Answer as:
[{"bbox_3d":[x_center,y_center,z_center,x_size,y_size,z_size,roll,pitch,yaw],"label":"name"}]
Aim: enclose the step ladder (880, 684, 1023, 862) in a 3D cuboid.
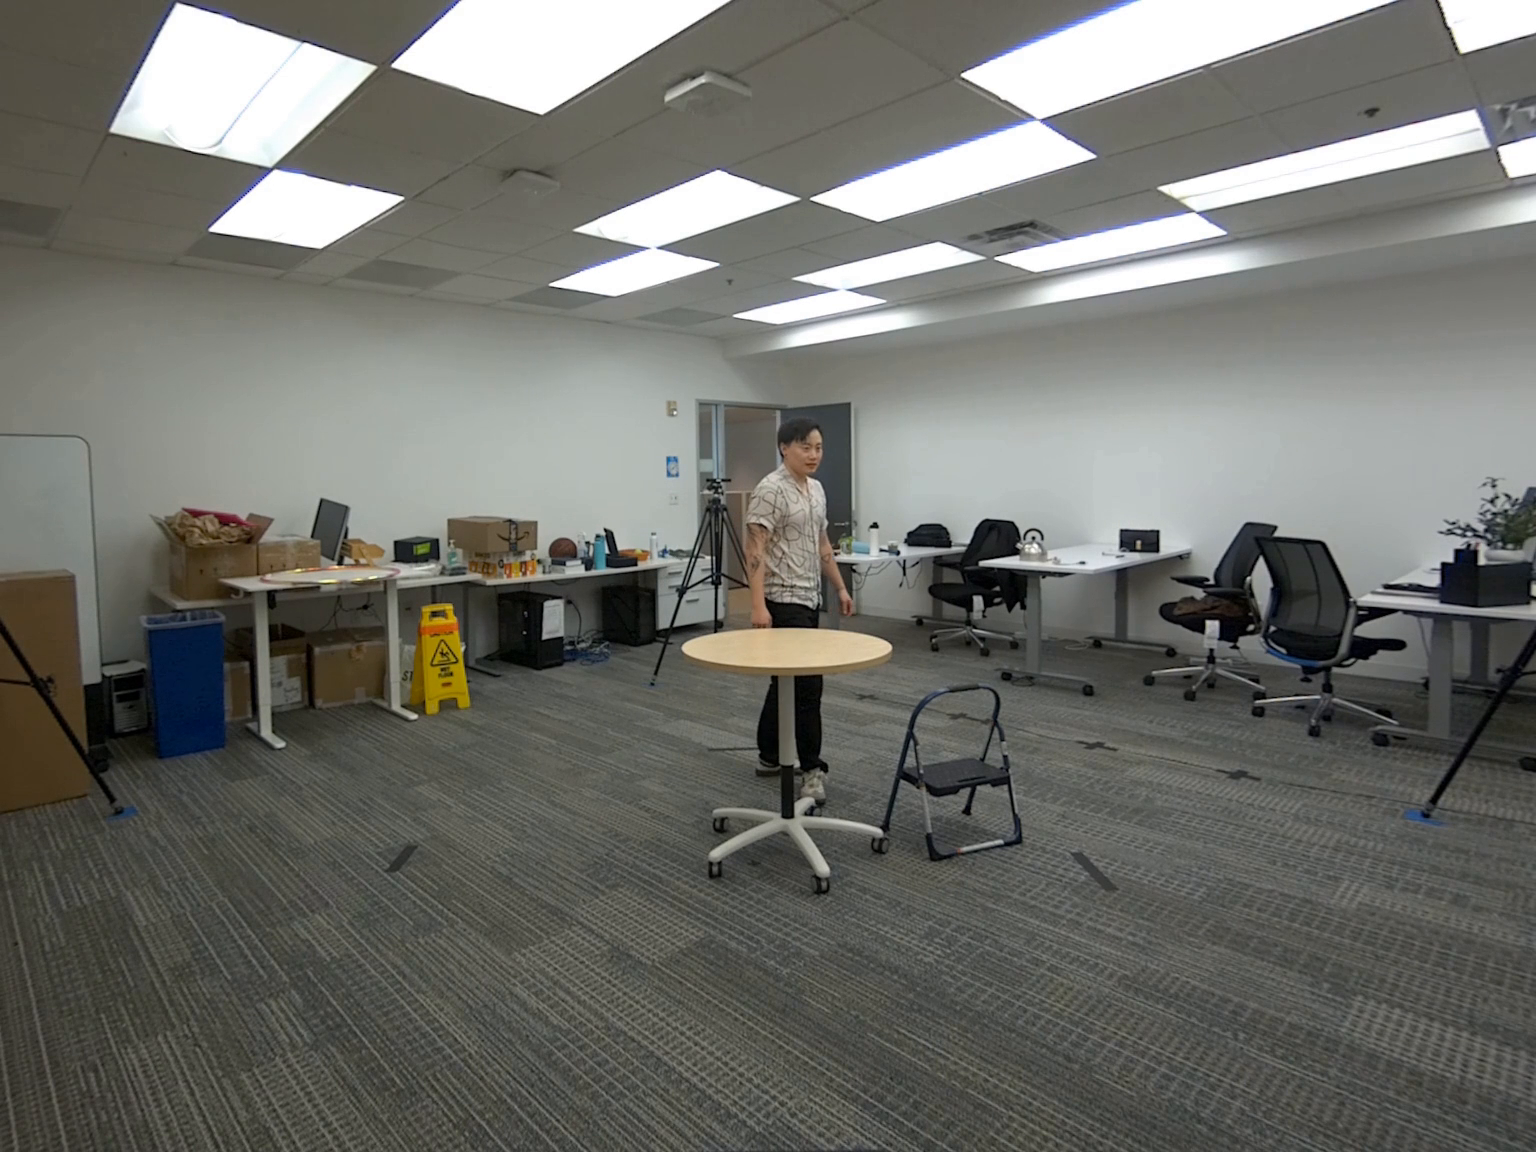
[{"bbox_3d":[0.706,0.710,3.300,0.422,0.604,0.358,-2,4,-25],"label":"step ladder"}]
